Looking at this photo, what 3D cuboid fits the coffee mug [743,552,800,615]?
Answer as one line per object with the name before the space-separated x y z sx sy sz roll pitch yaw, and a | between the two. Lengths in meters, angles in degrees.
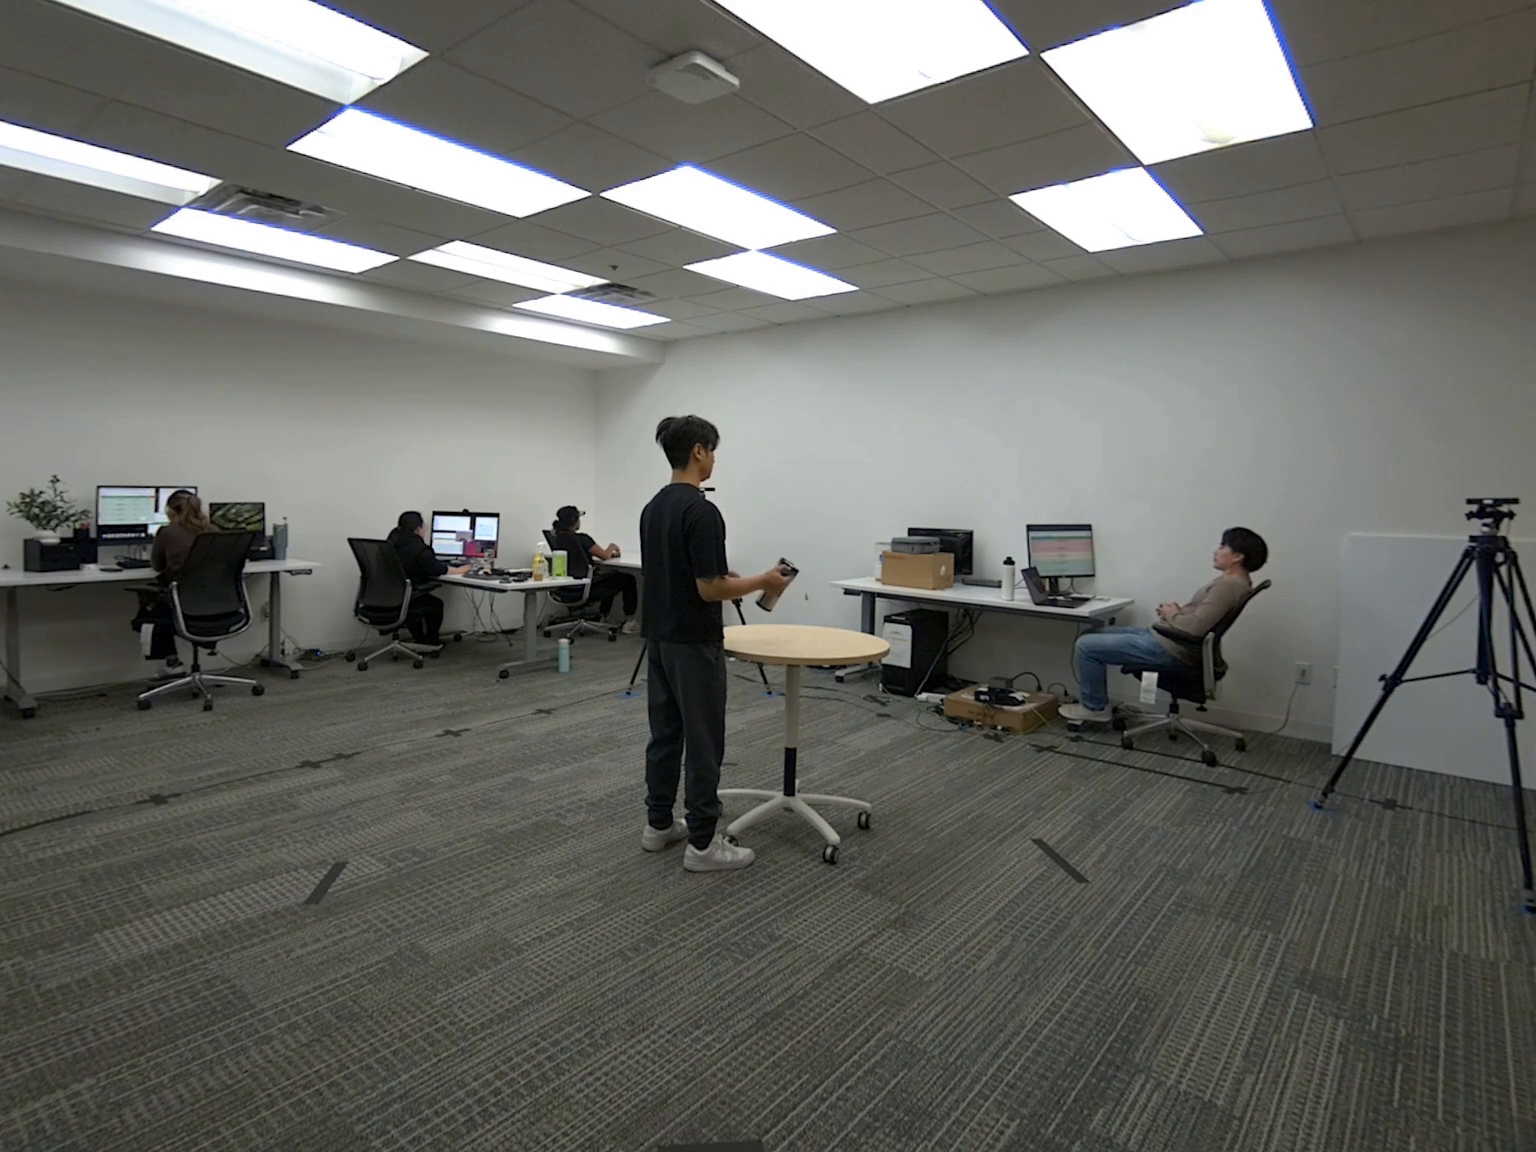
coffee mug | 0.002 0.026 3.254 0.126 0.202 0.085 41 20 28
